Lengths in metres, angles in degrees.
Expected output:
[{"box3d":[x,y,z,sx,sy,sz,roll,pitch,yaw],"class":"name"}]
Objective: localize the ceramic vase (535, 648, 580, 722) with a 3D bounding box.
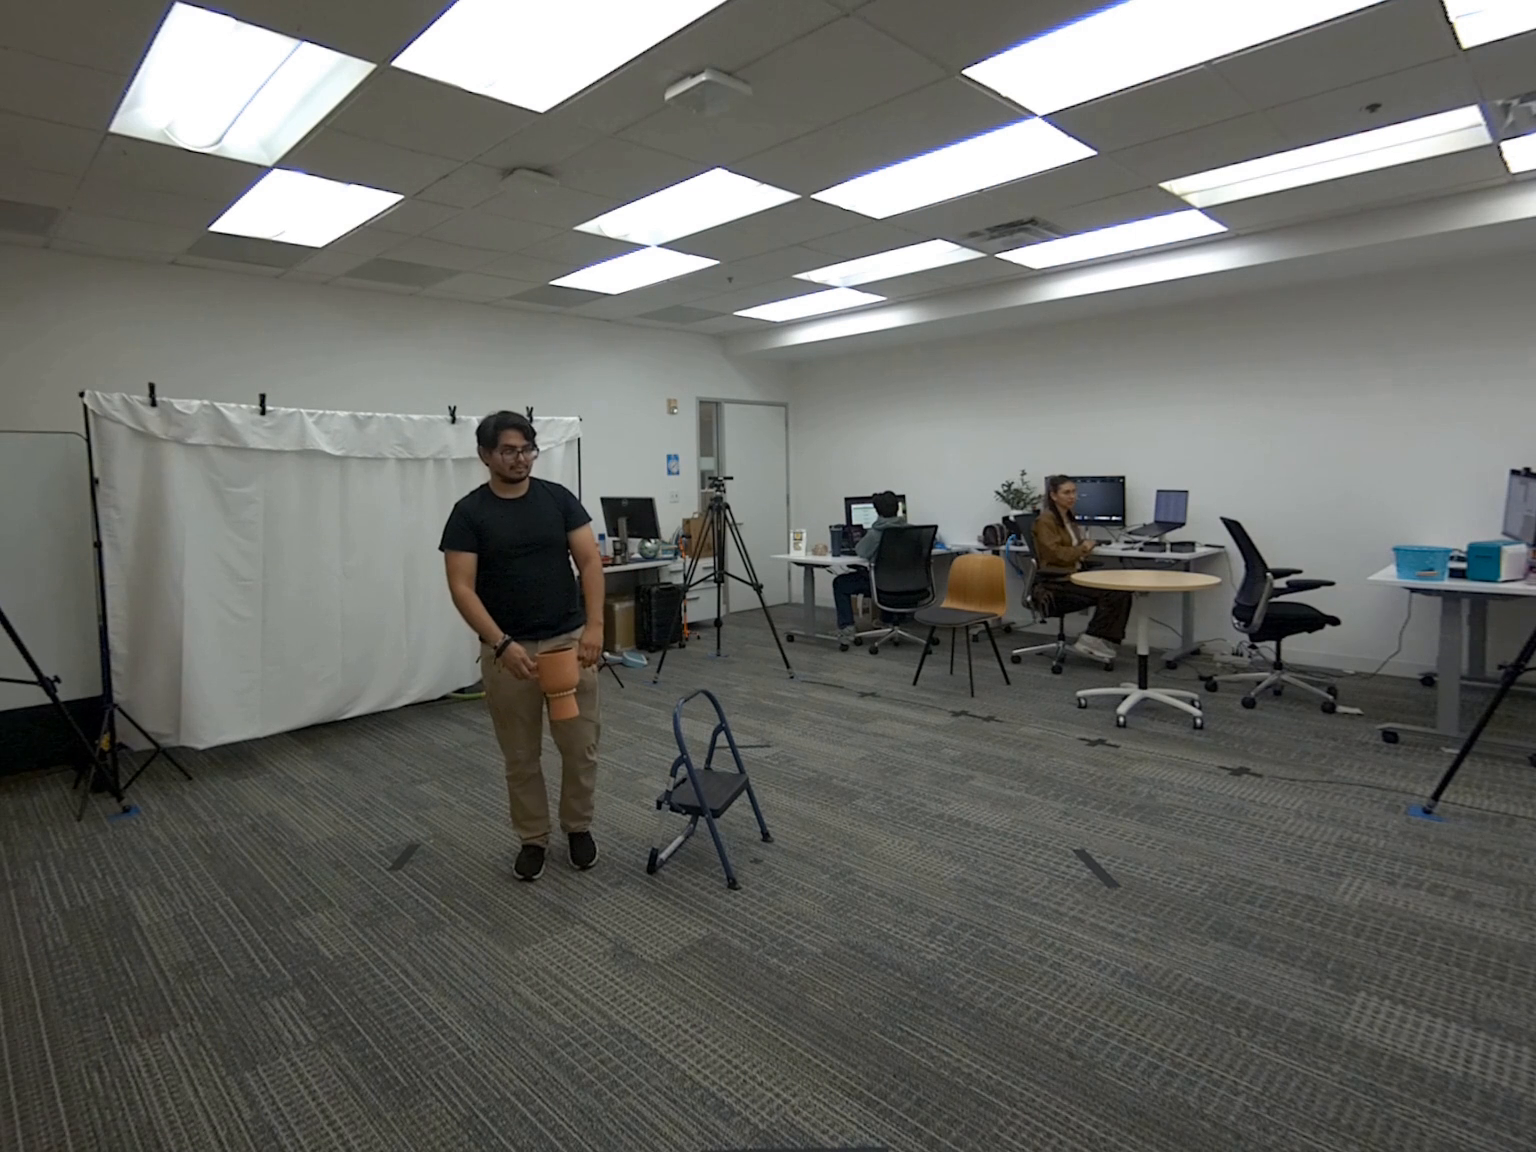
[{"box3d":[-0.699,0.360,2.826,0.160,0.219,0.134,-9,2,8],"class":"ceramic vase"}]
